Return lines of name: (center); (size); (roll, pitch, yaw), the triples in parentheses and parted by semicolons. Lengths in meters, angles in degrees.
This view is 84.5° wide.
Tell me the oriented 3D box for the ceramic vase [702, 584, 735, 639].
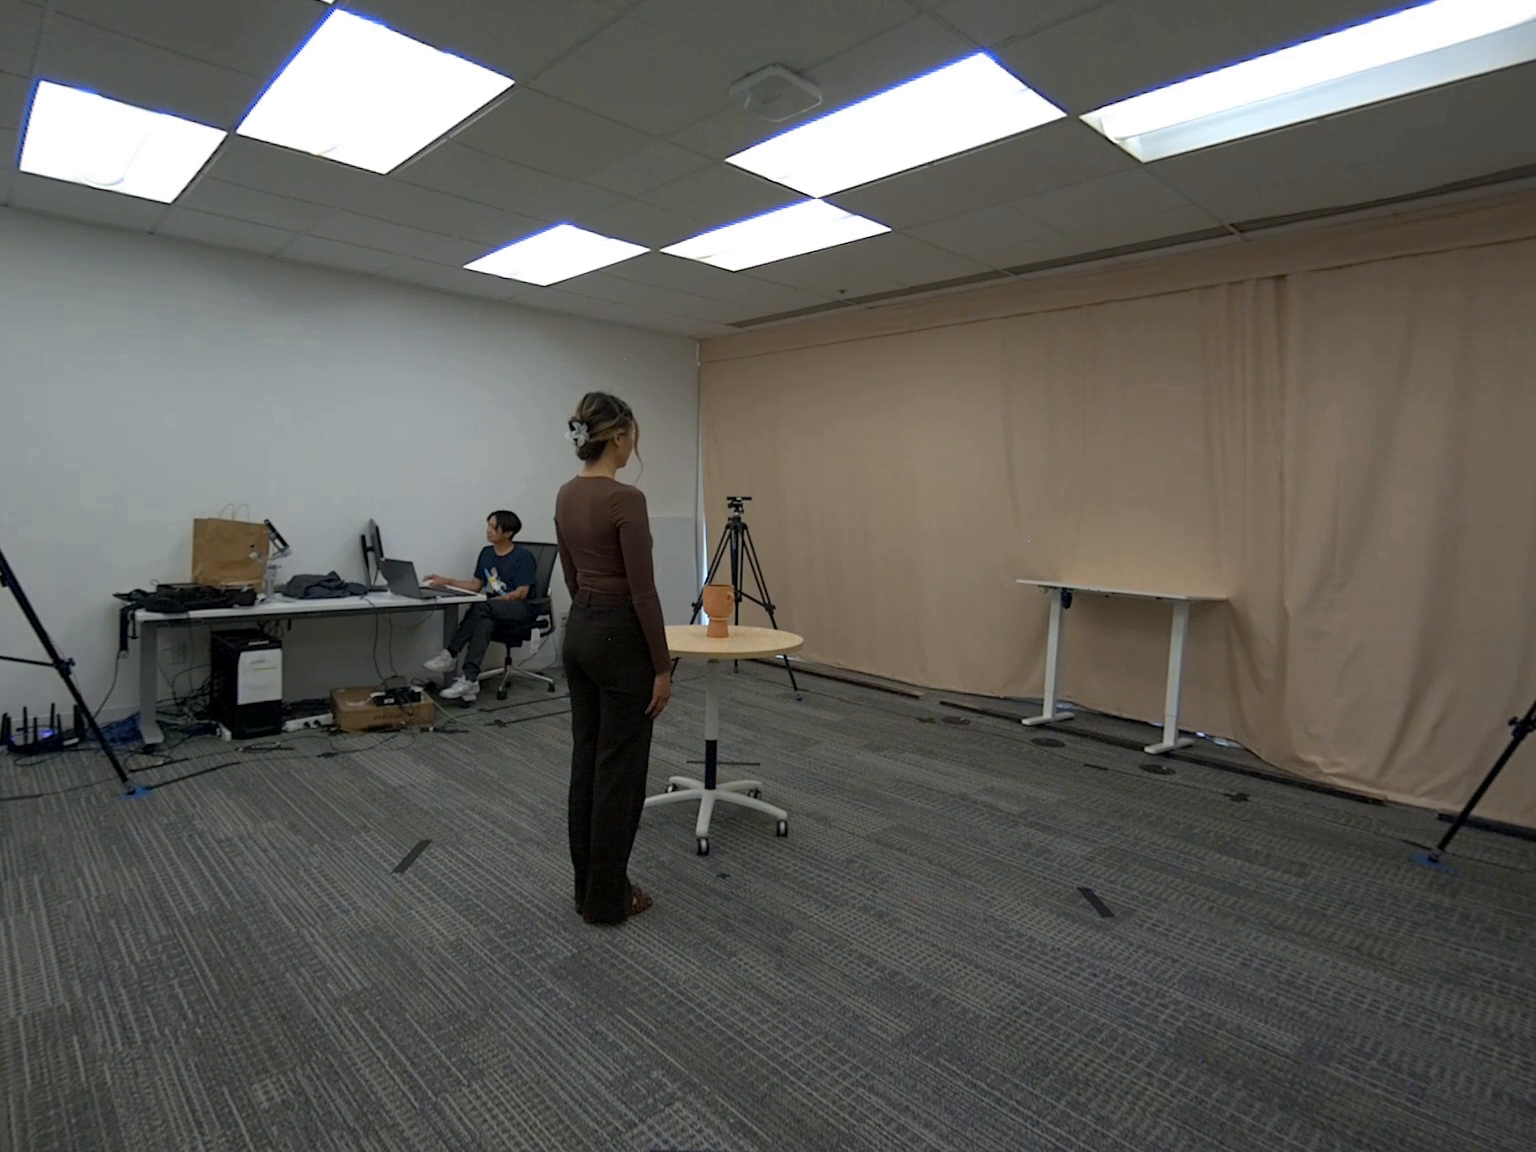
ceramic vase: (-0.235, 0.152, 3.645); (0.134, 0.219, 0.159); (2, 2, -5)
